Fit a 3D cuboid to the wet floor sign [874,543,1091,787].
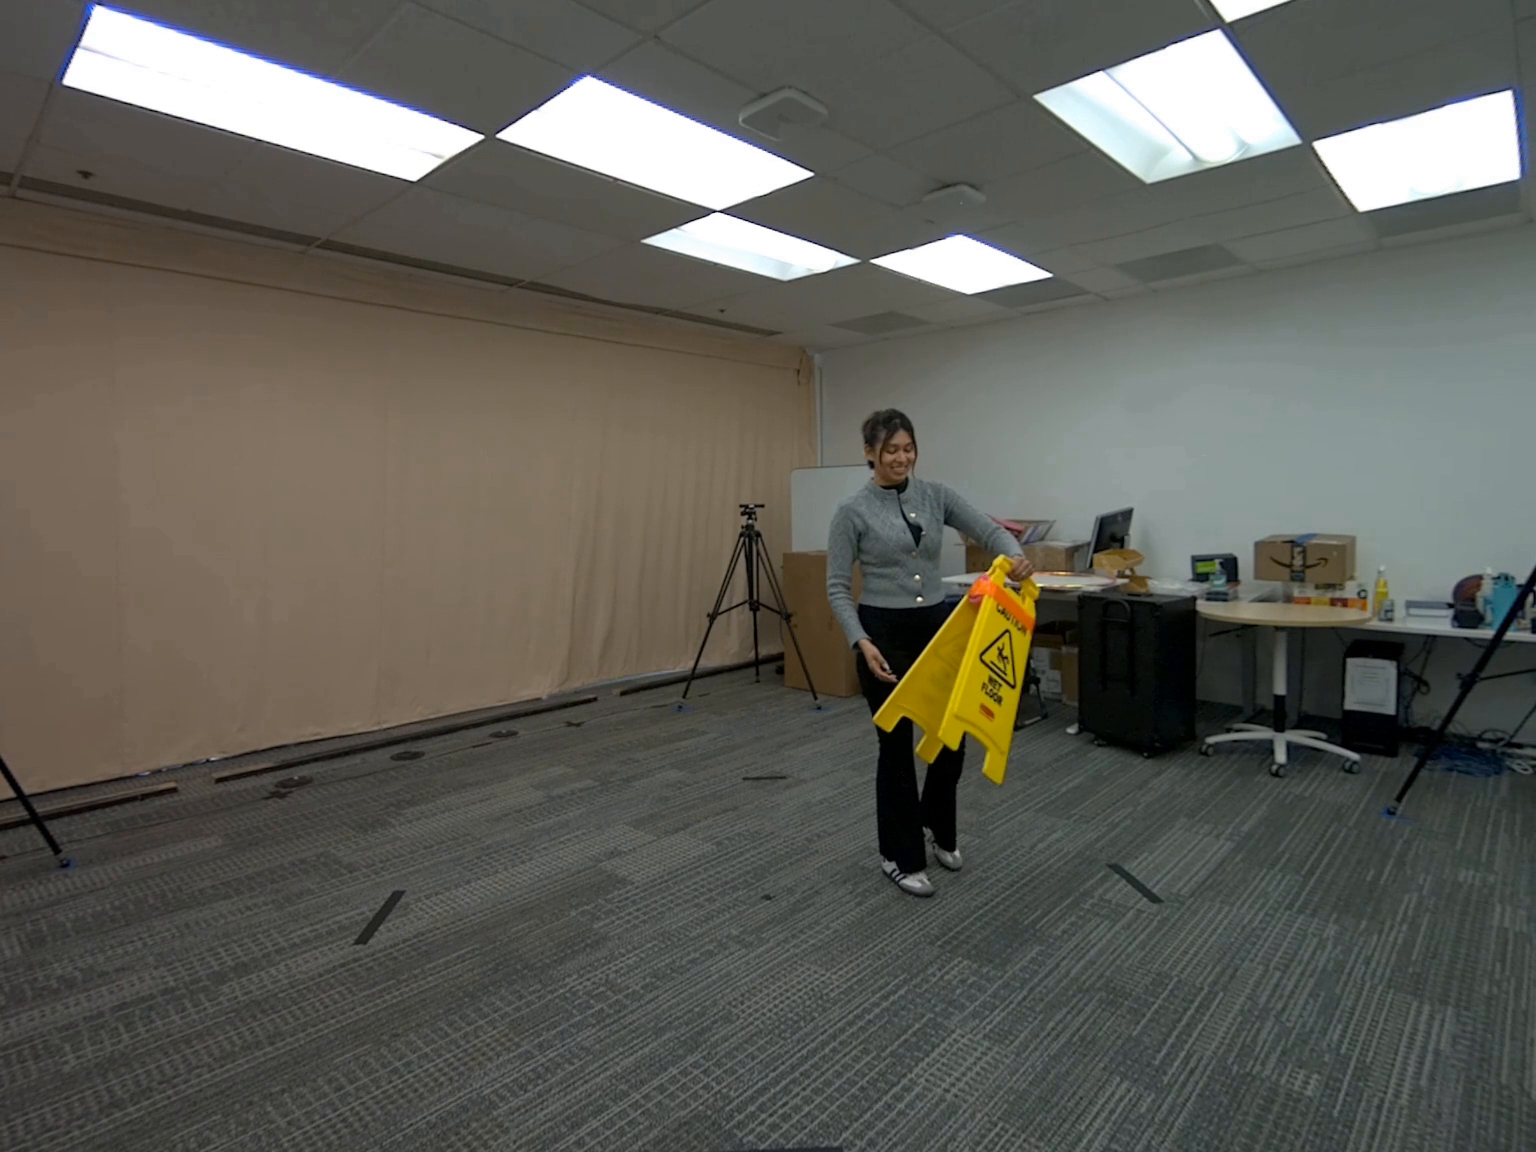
[{"bbox_3d":[0.652,0.249,2.573,0.275,0.646,0.297,38,-19,-24],"label":"wet floor sign"}]
